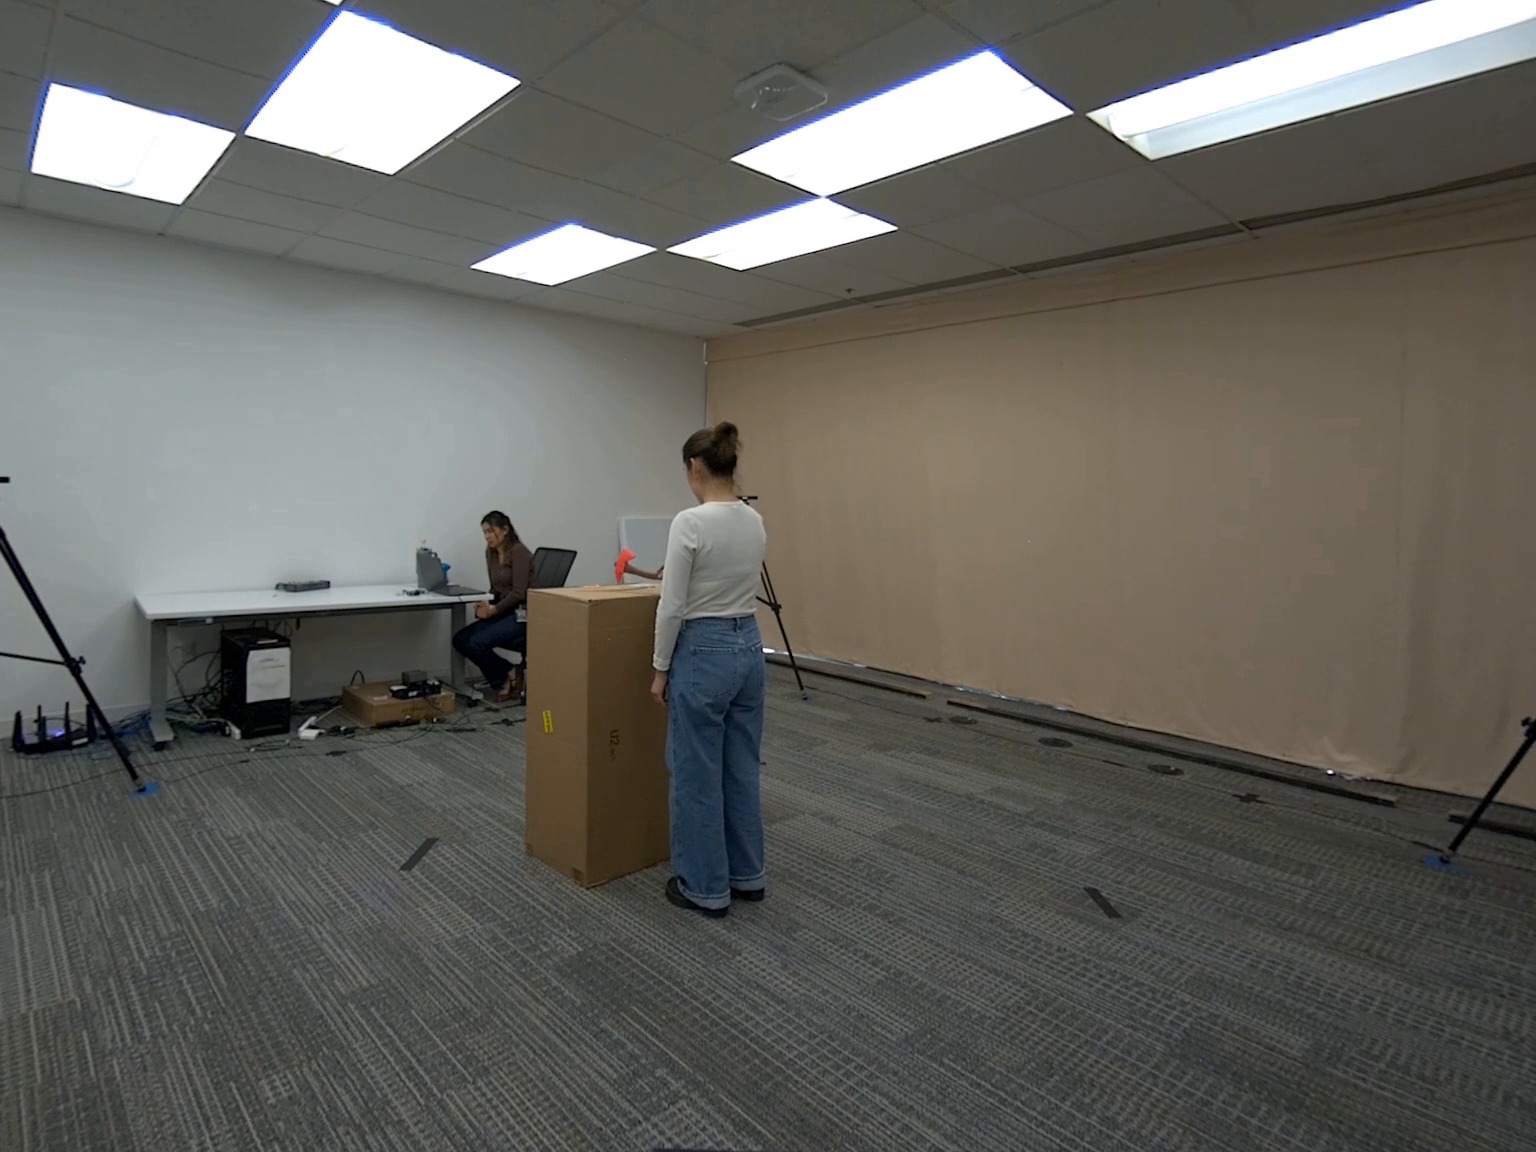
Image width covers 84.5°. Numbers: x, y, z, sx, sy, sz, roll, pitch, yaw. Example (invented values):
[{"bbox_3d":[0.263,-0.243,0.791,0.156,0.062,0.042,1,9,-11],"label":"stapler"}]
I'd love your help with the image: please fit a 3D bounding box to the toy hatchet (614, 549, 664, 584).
[{"bbox_3d":[-0.485,-0.037,3.188,0.275,0.131,0.029,-3,-4,26],"label":"toy hatchet"}]
